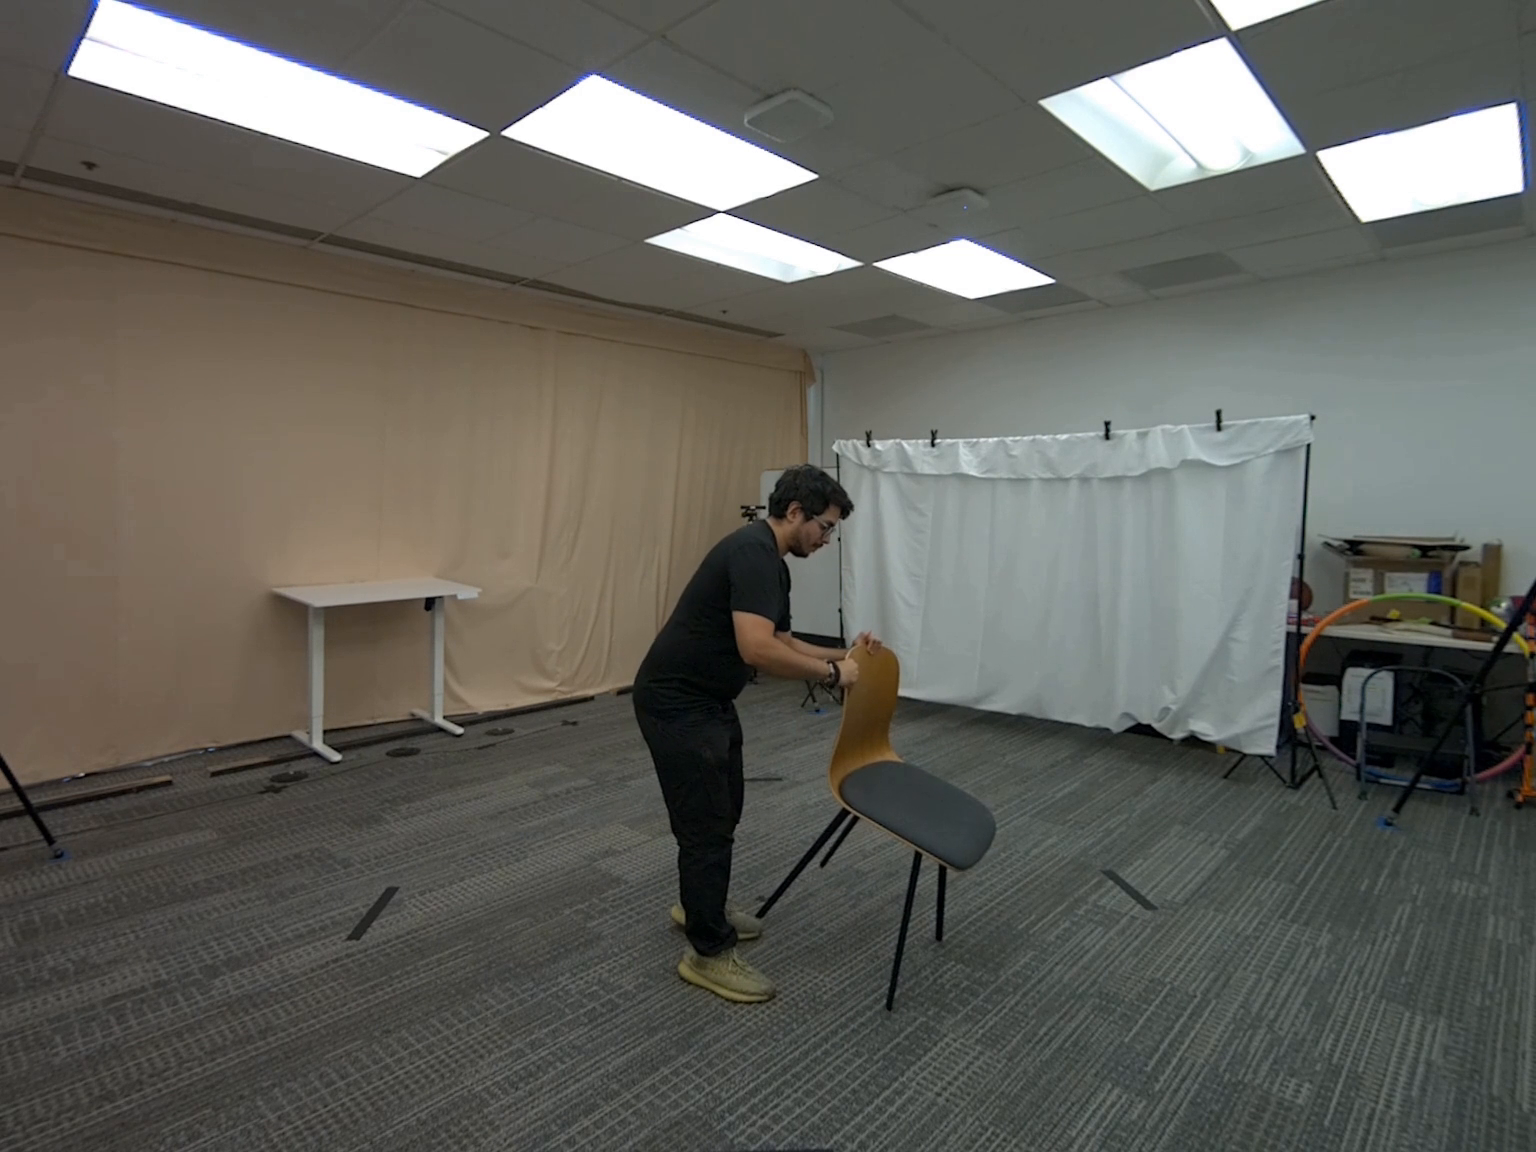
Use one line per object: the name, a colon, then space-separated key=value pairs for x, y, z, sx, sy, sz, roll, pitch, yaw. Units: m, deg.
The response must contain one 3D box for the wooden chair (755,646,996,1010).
wooden chair: x=0.400 y=0.707 z=2.509 sx=0.540 sy=0.874 sz=0.465 roll=20 pitch=12 yaw=29
